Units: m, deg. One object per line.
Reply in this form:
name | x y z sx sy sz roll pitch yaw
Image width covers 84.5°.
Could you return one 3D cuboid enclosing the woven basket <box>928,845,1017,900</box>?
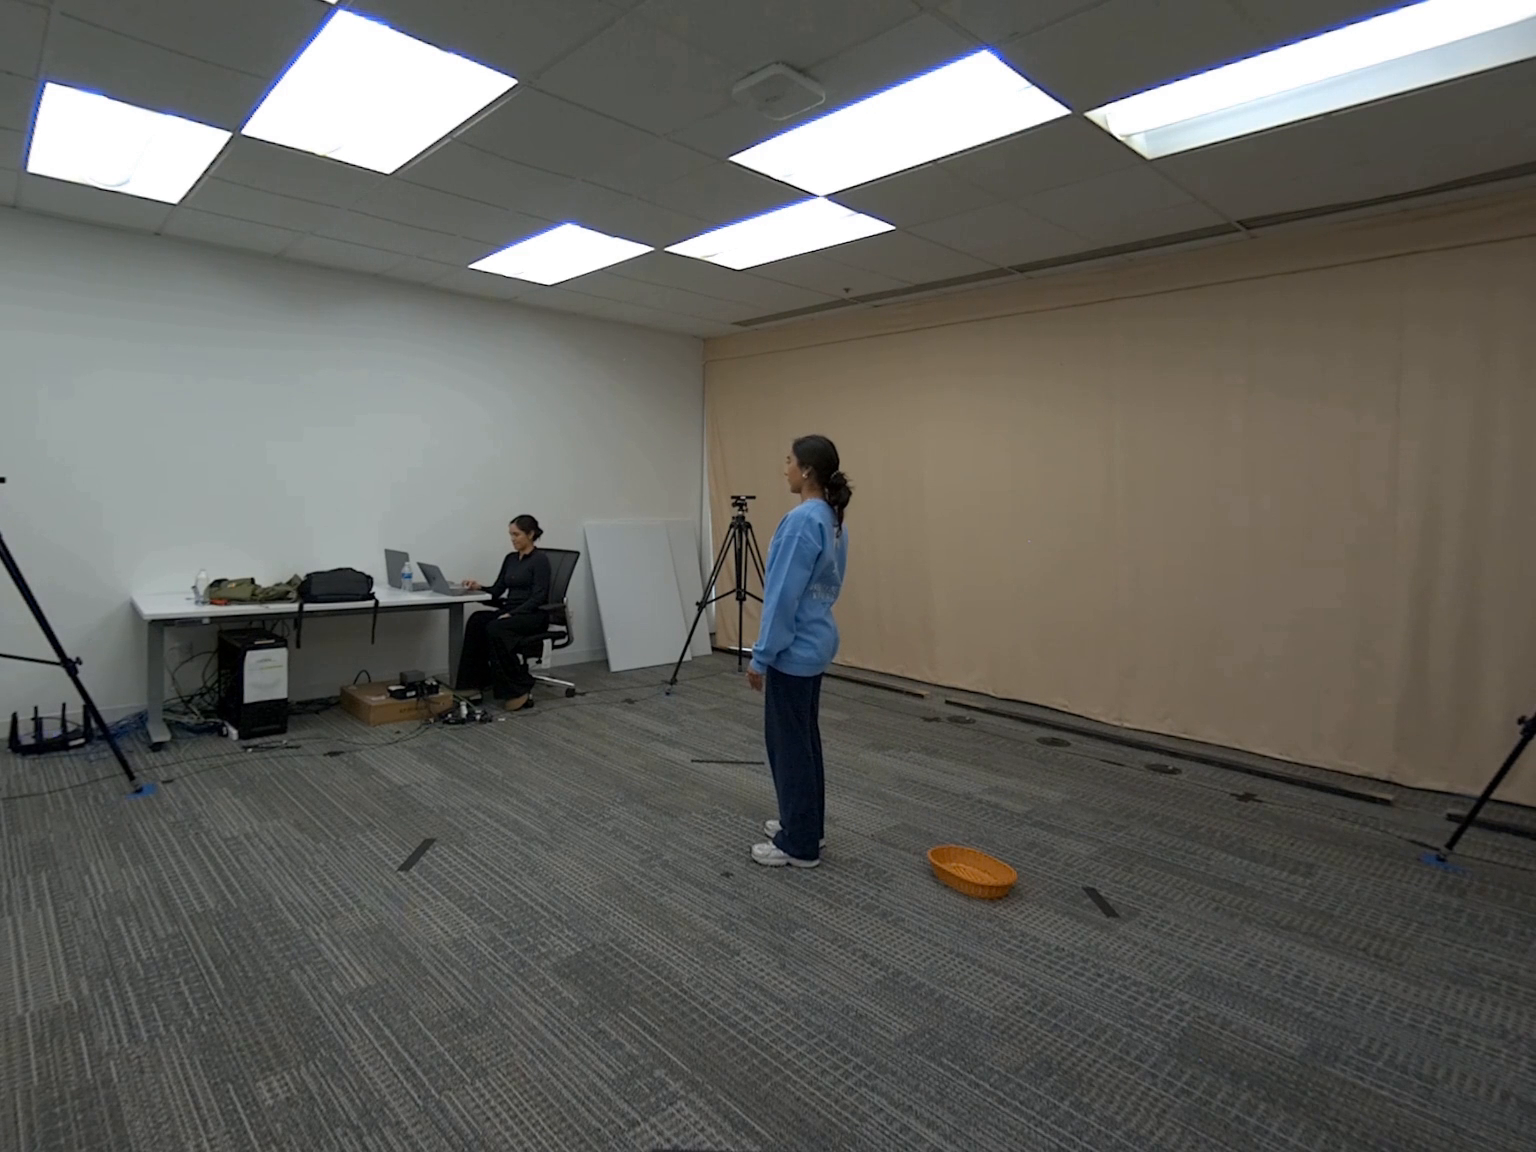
woven basket | 0.732 1.087 3.088 0.247 0.073 0.359 0 5 -32
